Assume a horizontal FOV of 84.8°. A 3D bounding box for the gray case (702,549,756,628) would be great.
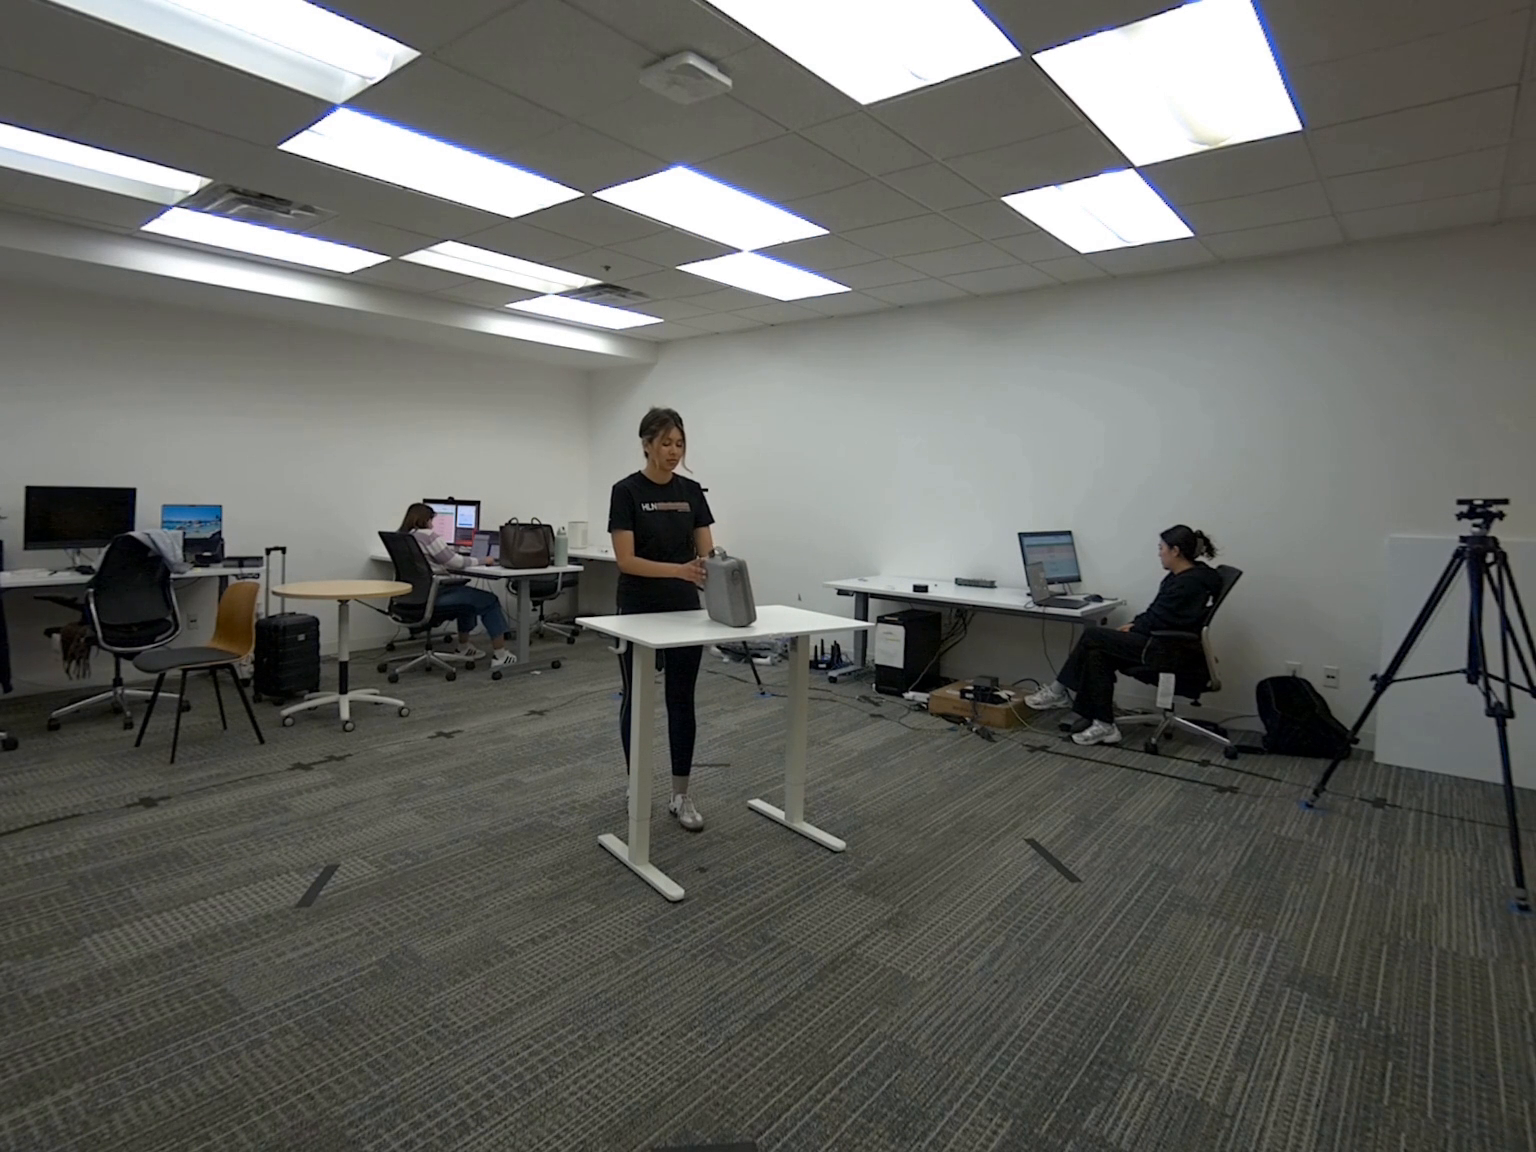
[{"bbox_3d":[-0.165,0.049,3.216,0.102,0.259,0.263,-10,8,-23],"label":"gray case"}]
